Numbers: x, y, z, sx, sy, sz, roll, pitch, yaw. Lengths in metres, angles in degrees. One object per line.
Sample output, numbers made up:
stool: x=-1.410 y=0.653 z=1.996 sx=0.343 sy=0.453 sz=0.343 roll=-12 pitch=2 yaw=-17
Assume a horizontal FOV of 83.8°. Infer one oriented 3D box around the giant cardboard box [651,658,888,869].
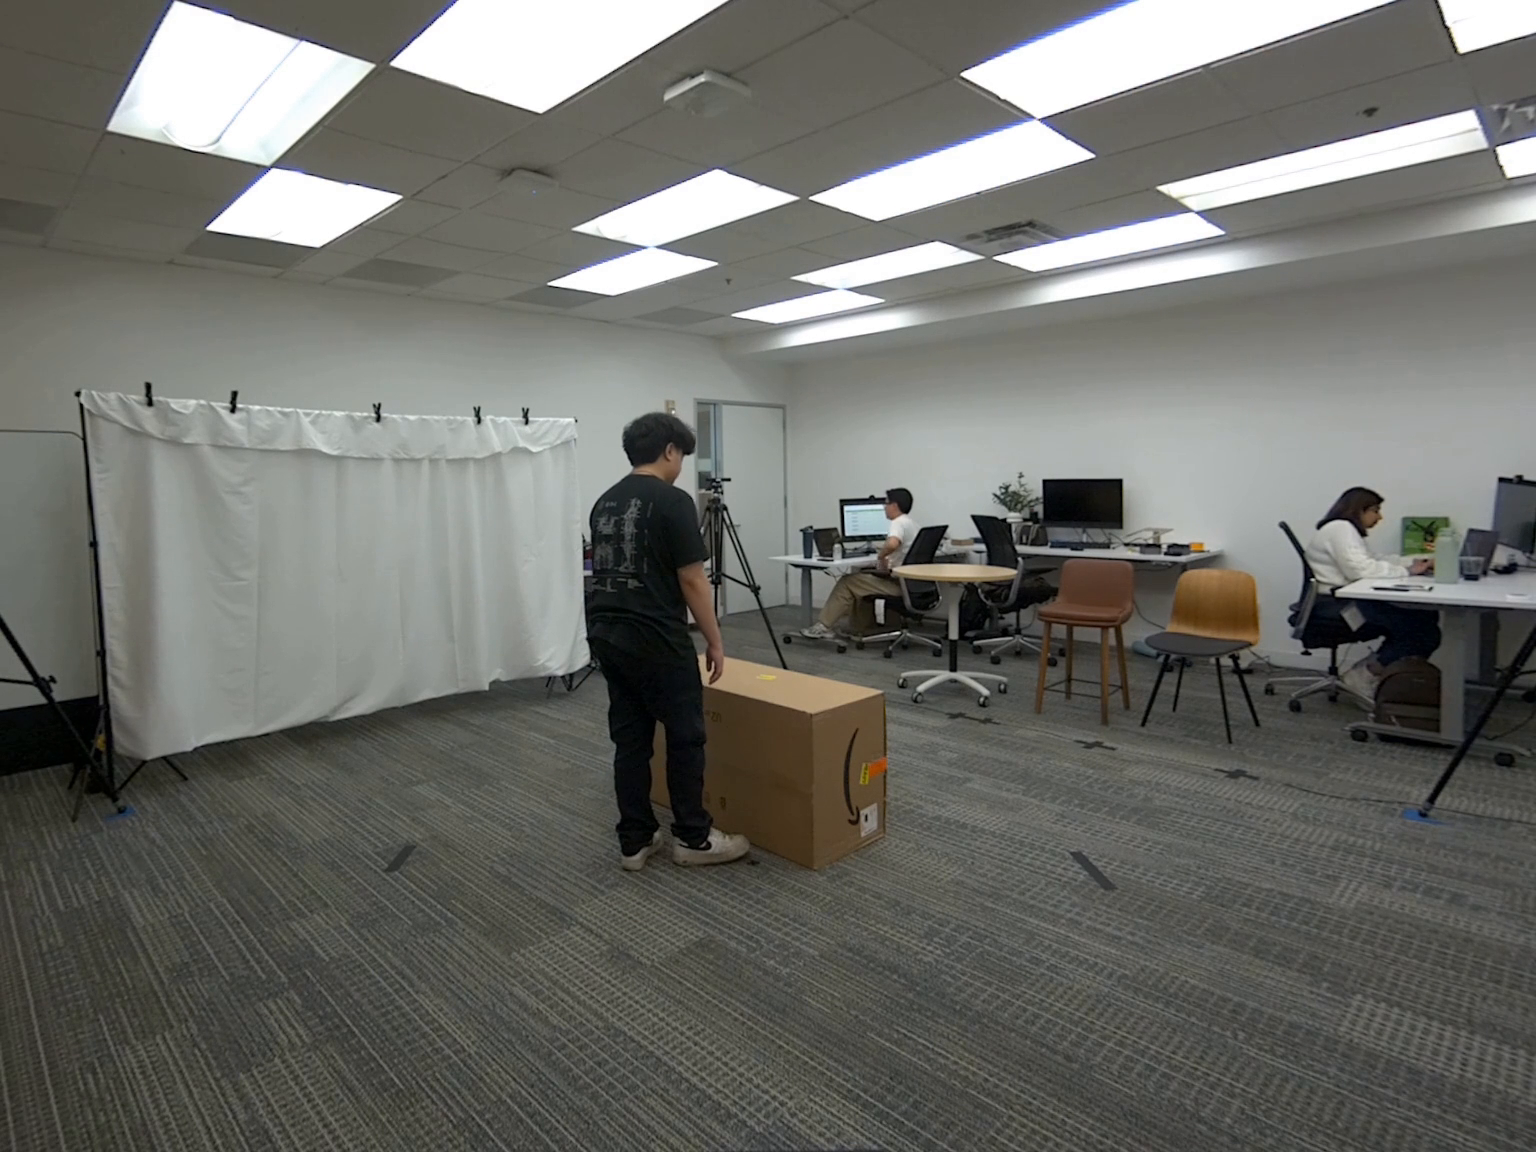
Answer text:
giant cardboard box: x=-0.054 y=0.709 z=3.531 sx=0.435 sy=0.582 sz=1.059 roll=-4 pitch=7 yaw=-44
